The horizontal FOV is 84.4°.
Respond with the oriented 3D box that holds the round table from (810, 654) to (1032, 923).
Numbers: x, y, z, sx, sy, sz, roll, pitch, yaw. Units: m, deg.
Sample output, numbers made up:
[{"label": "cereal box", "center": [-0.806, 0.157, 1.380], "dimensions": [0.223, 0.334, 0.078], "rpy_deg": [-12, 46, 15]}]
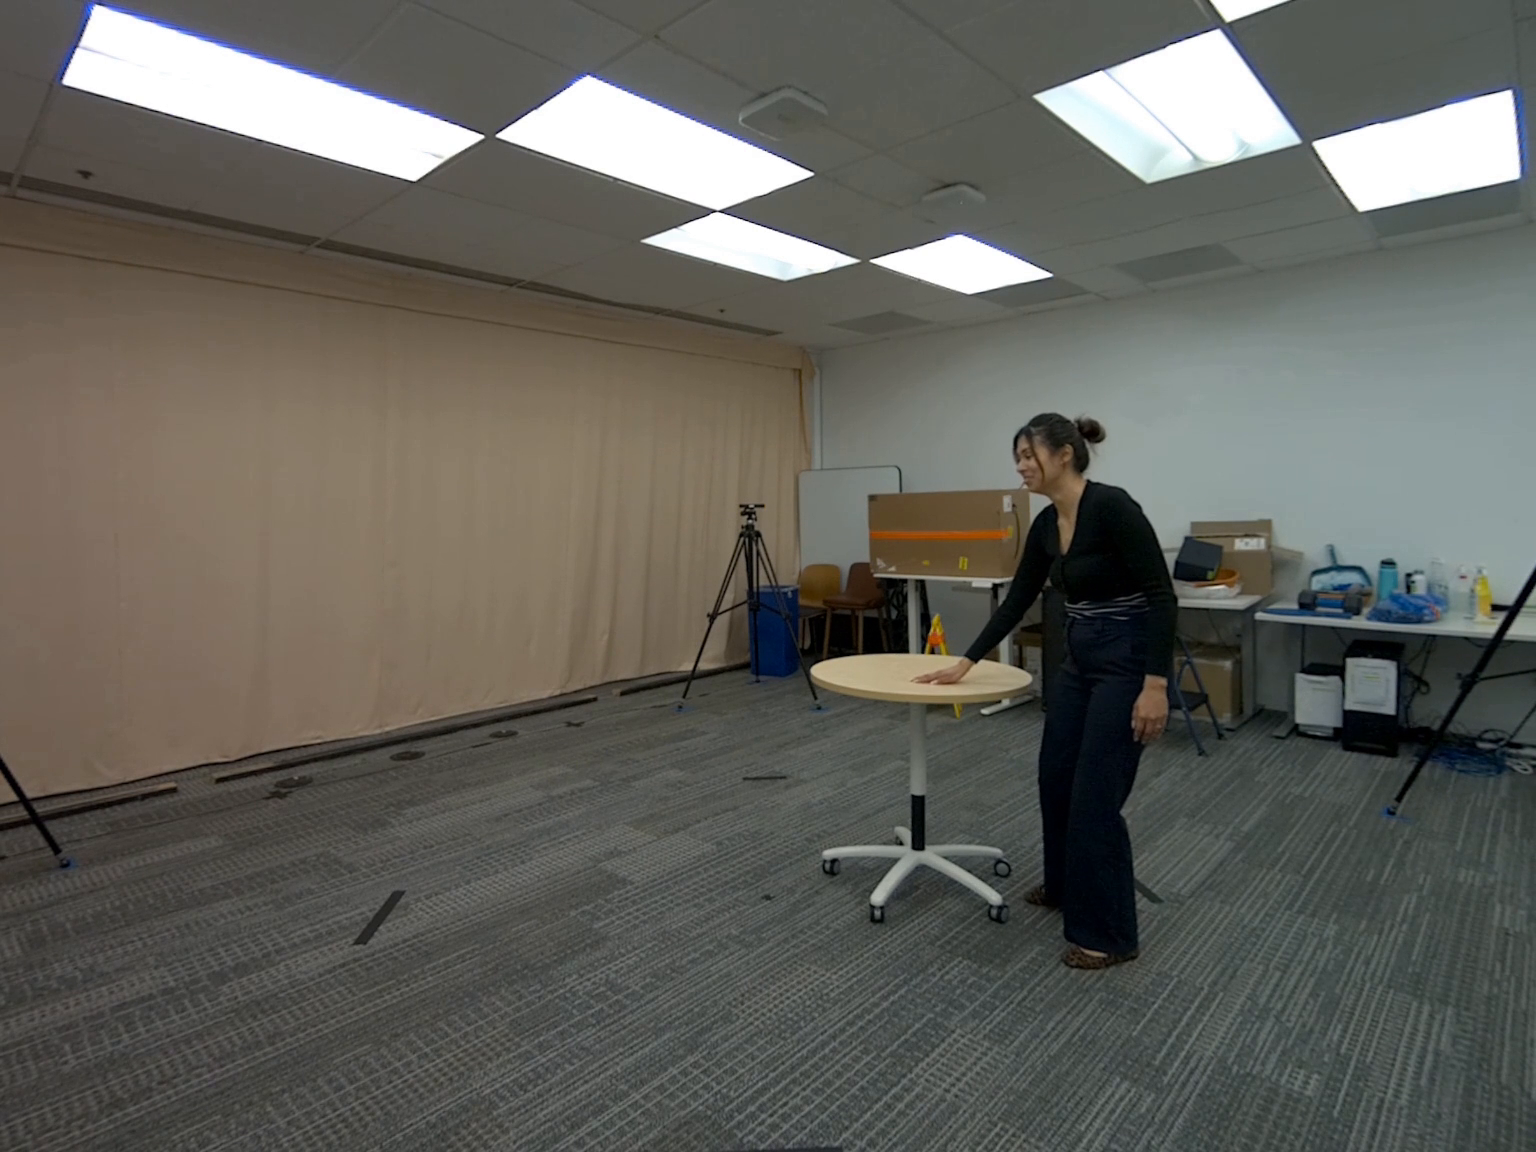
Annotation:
[{"label": "round table", "center": [0.543, 0.737, 3.025], "dimensions": [0.763, 0.792, 0.766], "rpy_deg": [0, 4, -2]}]
